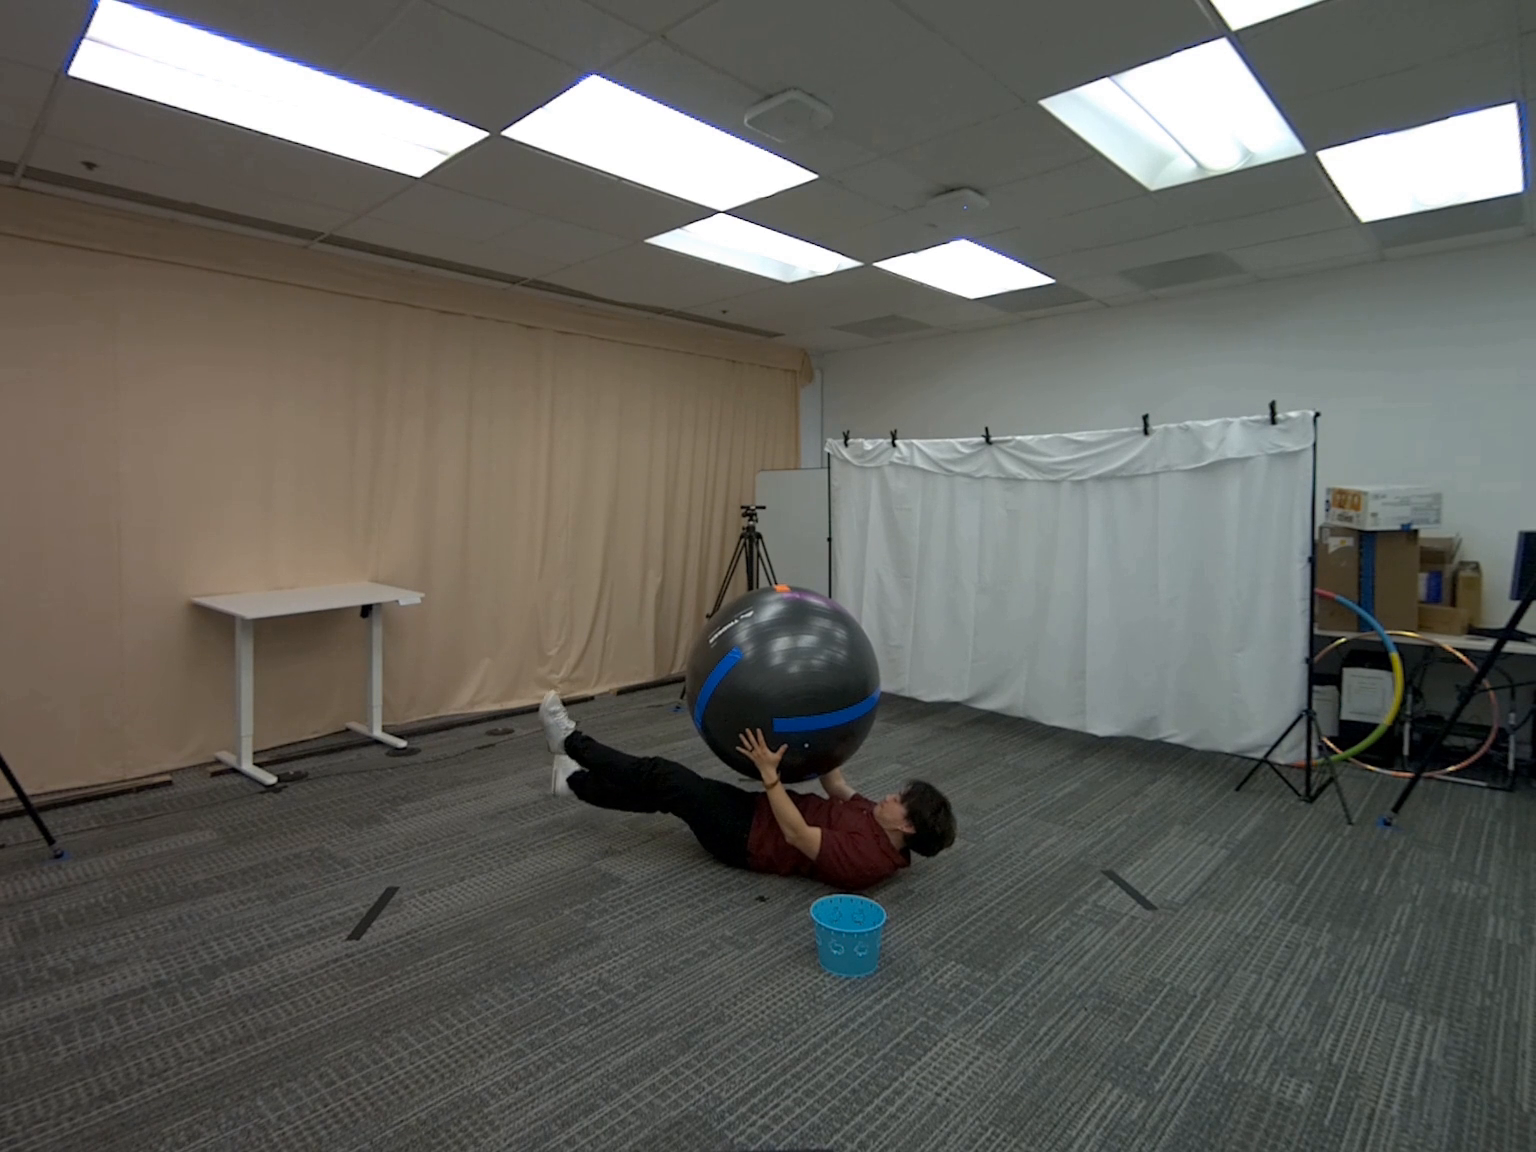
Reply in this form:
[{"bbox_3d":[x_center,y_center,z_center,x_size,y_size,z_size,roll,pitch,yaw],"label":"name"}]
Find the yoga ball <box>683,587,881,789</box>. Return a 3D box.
[{"bbox_3d":[0.056,0.419,3.299,0.757,0.756,0.760,0,4,-2],"label":"yoga ball"}]
